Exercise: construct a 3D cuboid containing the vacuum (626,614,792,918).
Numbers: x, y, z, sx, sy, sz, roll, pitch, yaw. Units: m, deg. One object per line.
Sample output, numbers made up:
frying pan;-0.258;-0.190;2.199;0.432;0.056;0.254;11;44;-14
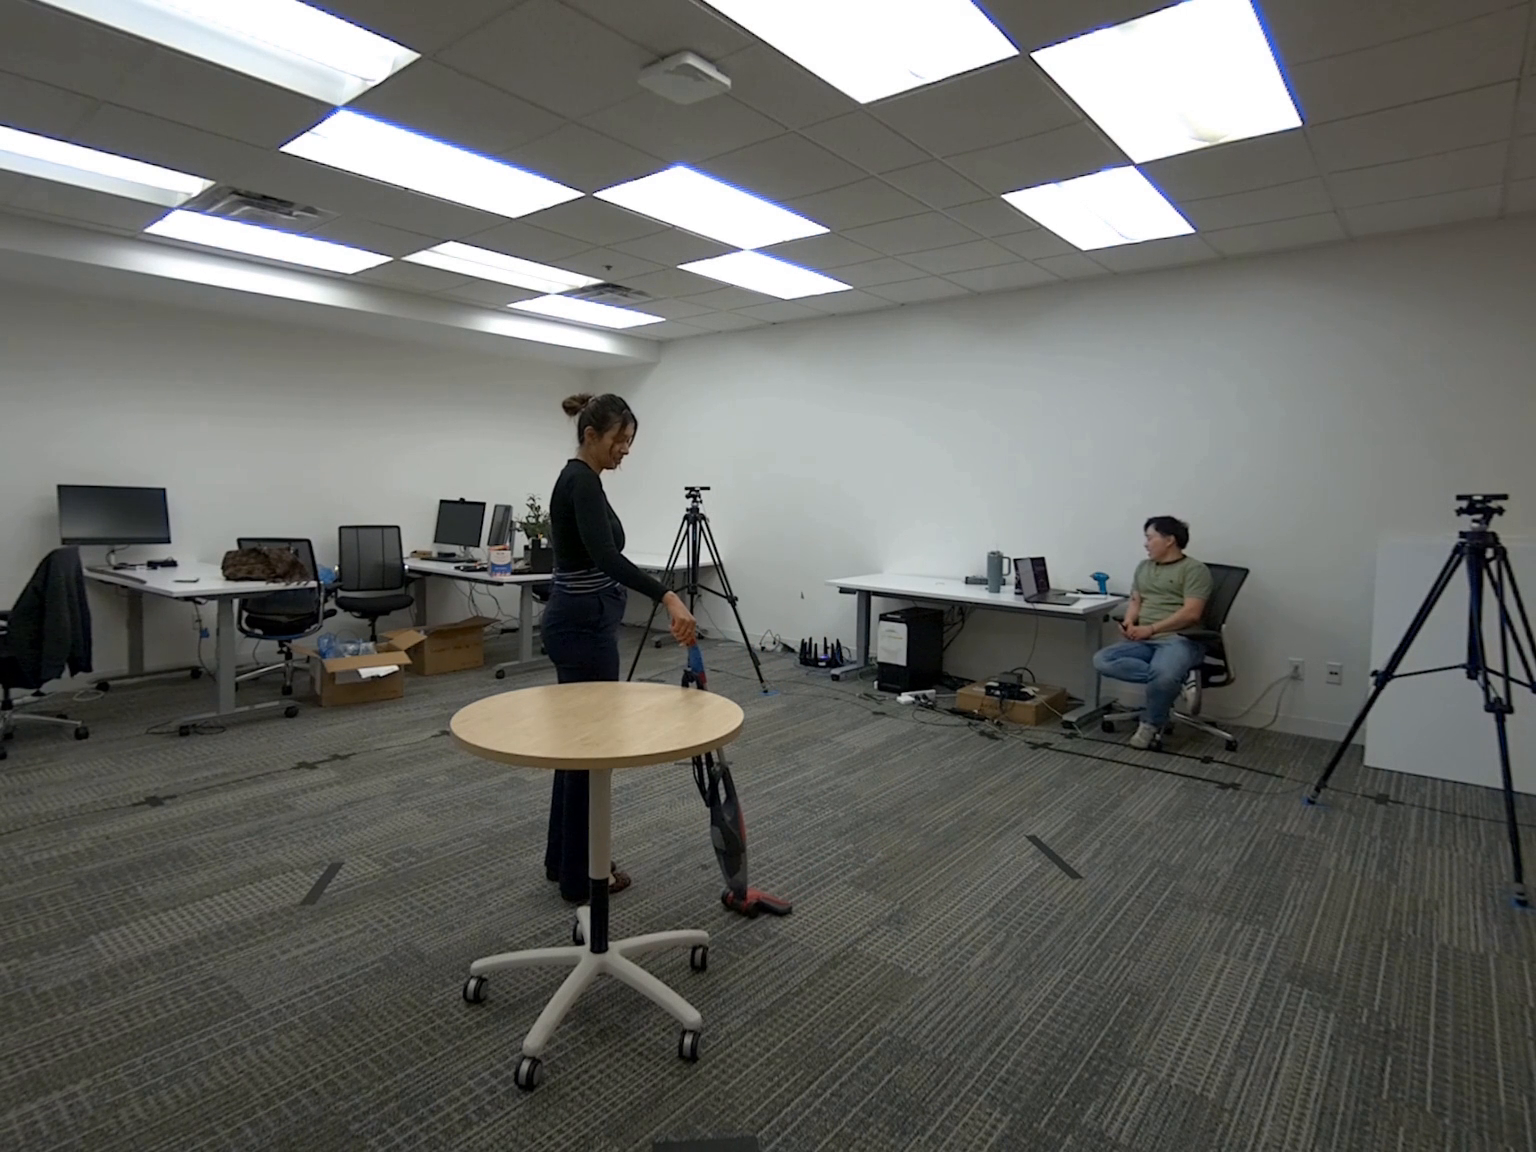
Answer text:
vacuum;-0.173;0.617;2.669;0.261;1.027;0.142;4;25;41
